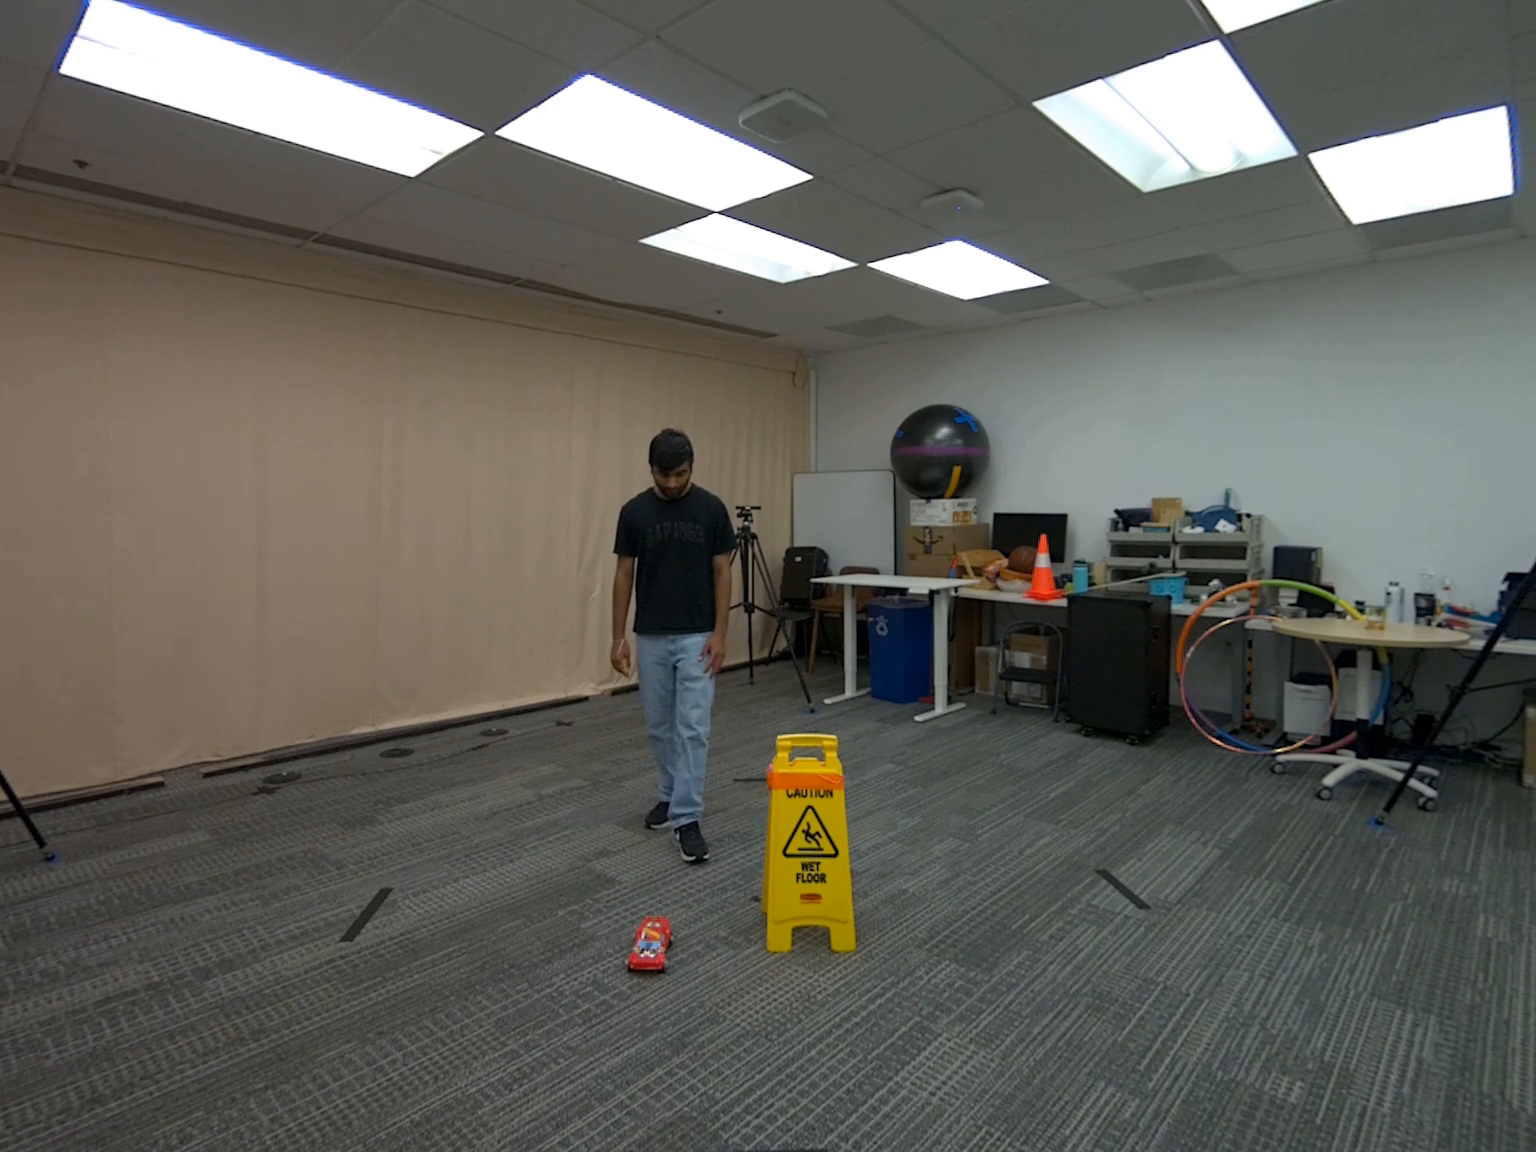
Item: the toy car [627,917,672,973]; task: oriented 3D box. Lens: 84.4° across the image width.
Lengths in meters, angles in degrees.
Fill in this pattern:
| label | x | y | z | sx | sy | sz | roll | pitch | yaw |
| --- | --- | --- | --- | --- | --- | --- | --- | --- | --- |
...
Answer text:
| label | x | y | z | sx | sy | sz | roll | pitch | yaw |
| --- | --- | --- | --- | --- | --- | --- | --- | --- | --- |
| toy car | -0.366 | 1.140 | 2.615 | 0.130 | 0.082 | 0.256 | -1 | 16 | 0 |
